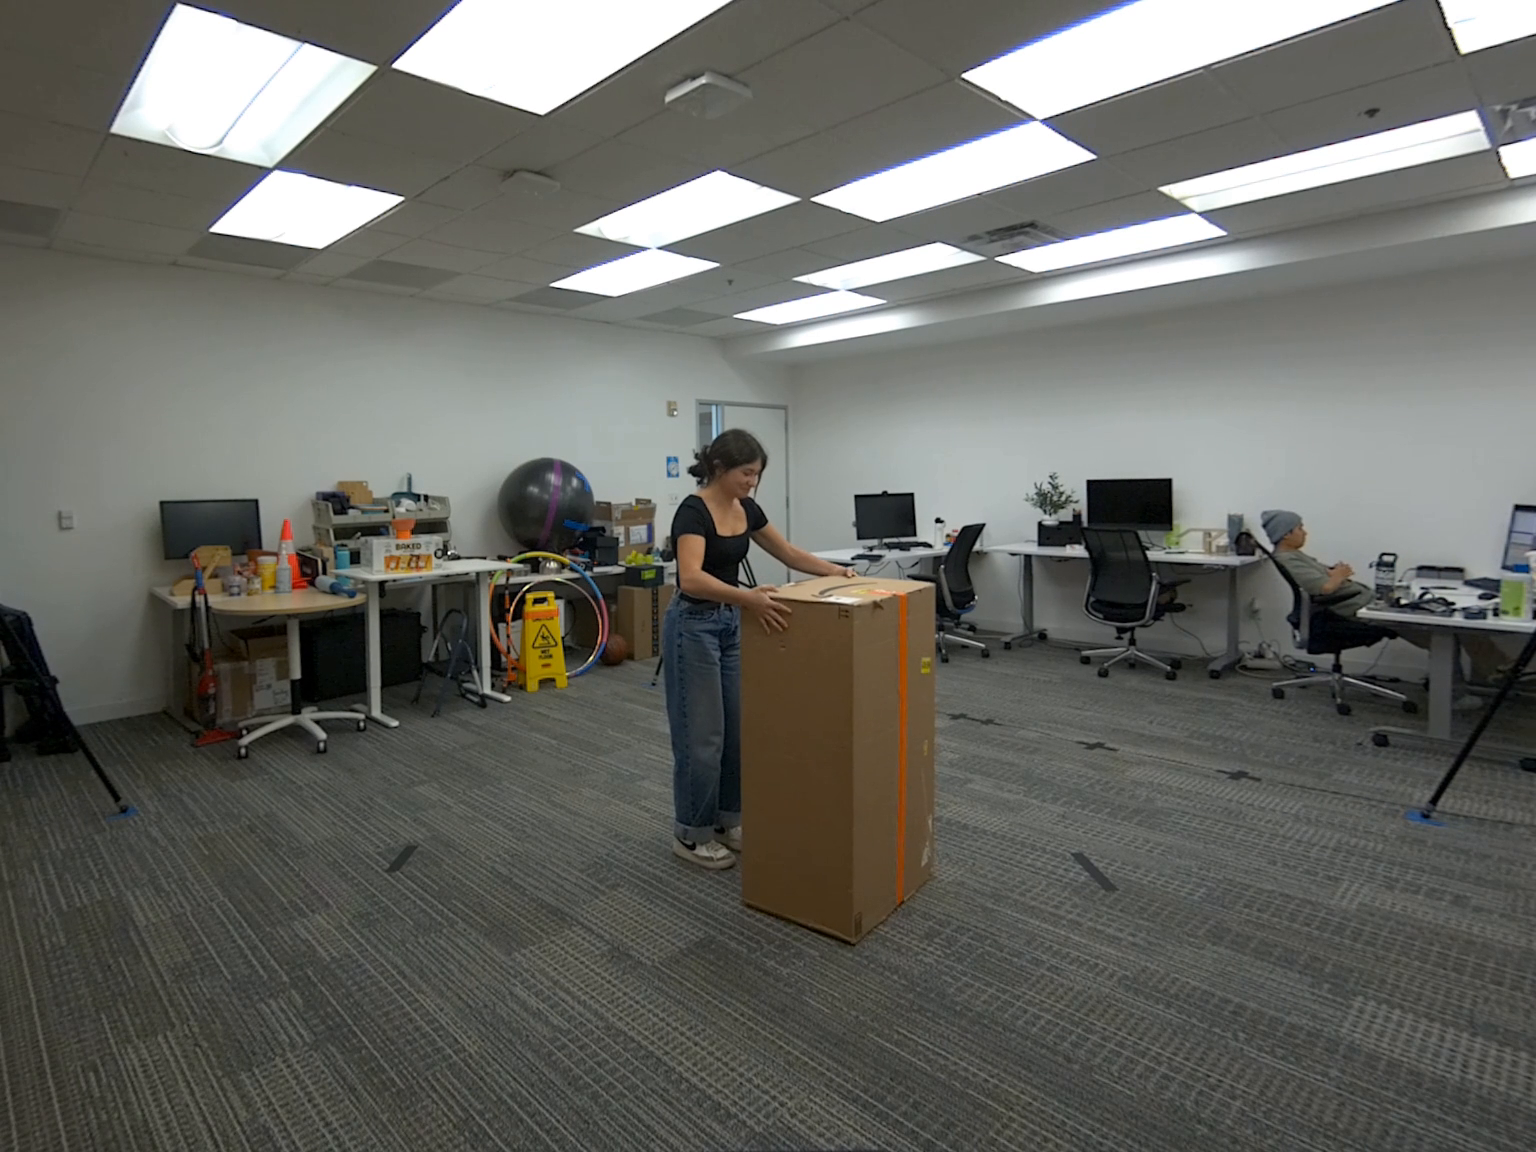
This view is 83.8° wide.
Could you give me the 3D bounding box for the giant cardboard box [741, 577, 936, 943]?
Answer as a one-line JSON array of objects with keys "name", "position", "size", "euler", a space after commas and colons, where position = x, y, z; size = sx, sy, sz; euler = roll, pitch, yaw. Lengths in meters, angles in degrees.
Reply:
[{"name": "giant cardboard box", "position": [0.250, 0.552, 2.855], "size": [0.439, 1.022, 0.563], "euler": [2, 5, 36]}]
